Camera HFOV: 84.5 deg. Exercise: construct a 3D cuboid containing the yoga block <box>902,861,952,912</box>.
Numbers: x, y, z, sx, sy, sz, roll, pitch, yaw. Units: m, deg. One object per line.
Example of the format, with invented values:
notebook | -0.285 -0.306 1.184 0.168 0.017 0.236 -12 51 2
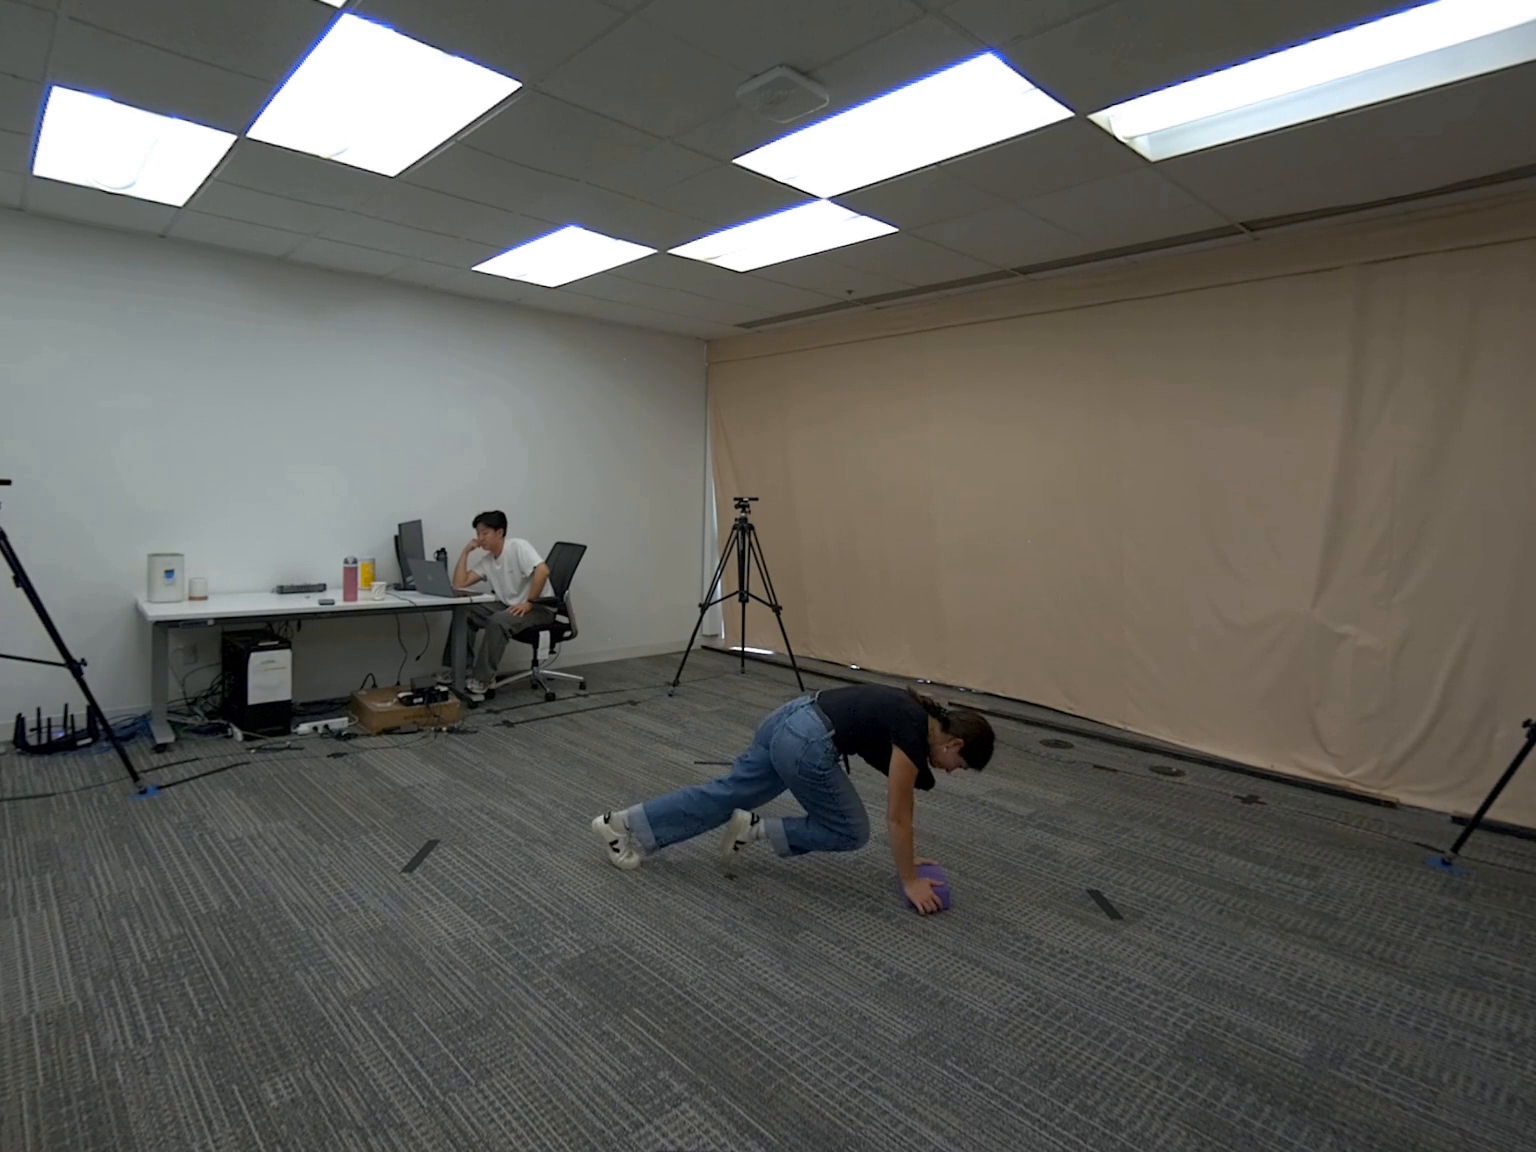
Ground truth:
yoga block | 0.550 1.103 2.987 0.149 0.076 0.229 0 4 2
